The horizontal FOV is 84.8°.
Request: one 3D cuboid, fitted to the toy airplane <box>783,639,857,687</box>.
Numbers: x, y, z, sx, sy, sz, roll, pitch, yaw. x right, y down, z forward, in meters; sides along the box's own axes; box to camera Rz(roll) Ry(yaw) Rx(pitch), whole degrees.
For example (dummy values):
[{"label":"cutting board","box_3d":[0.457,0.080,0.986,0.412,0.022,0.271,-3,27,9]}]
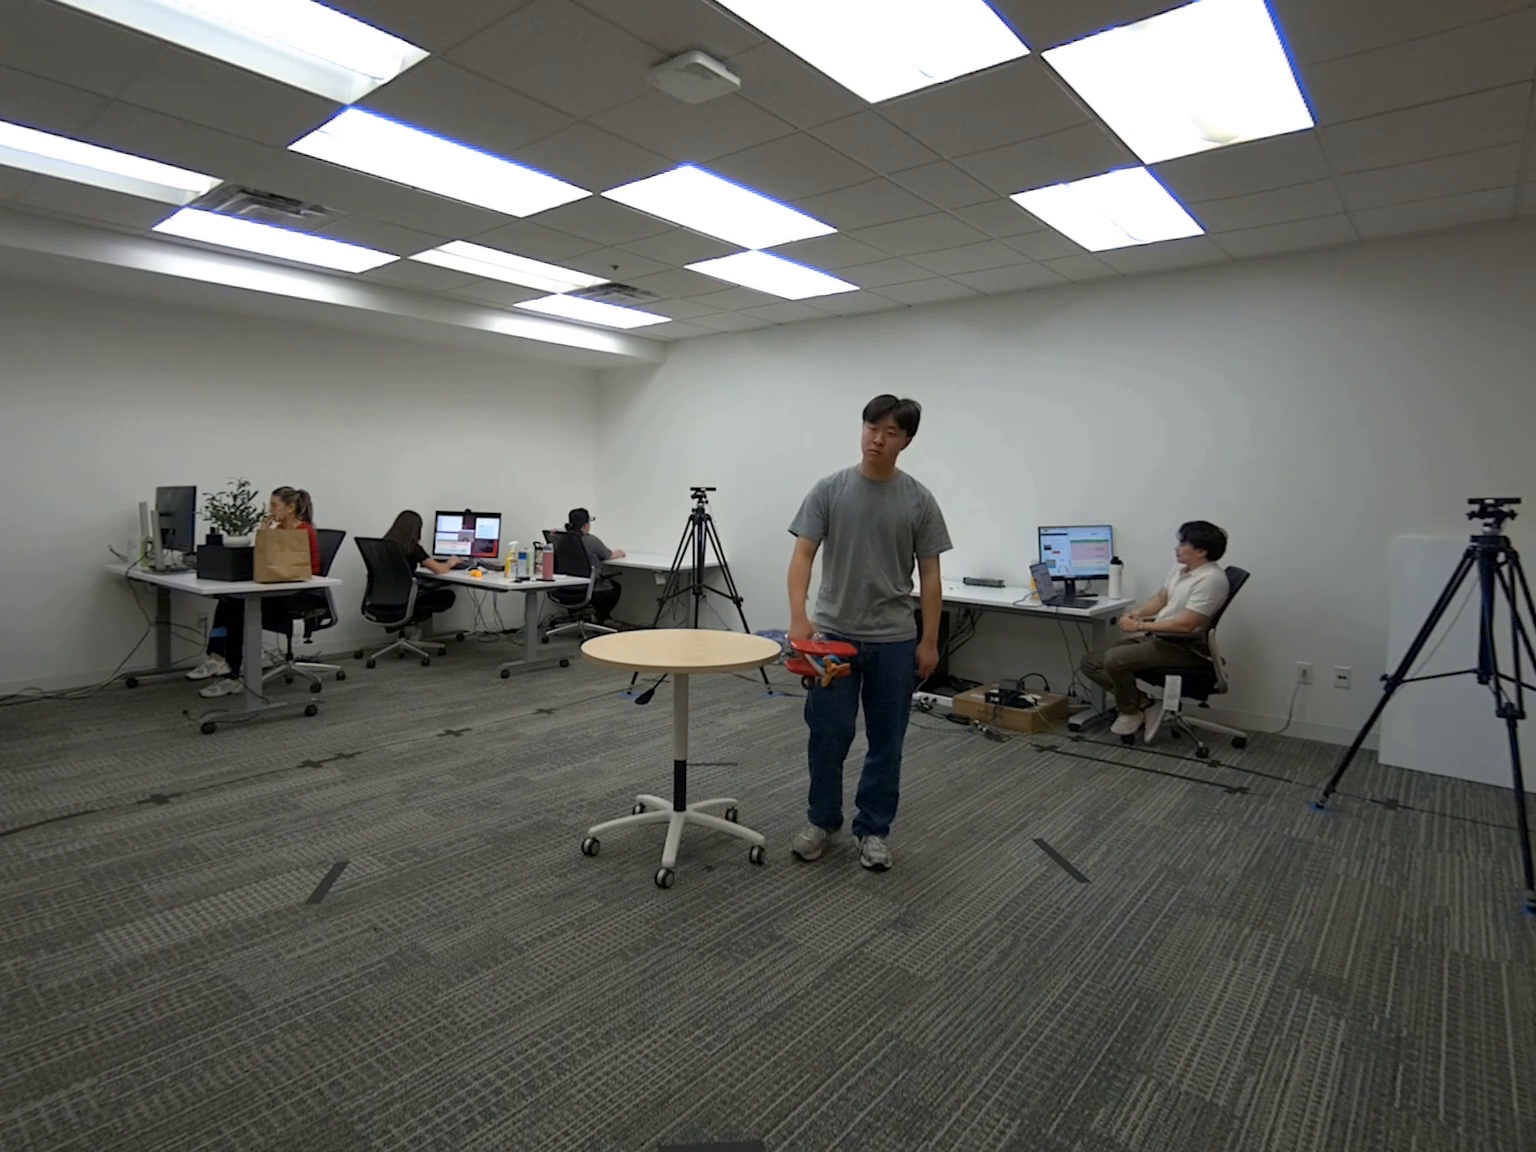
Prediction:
[{"label":"toy airplane","box_3d":[0.143,0.268,2.967,0.269,0.154,0.245,40,35,28]}]
